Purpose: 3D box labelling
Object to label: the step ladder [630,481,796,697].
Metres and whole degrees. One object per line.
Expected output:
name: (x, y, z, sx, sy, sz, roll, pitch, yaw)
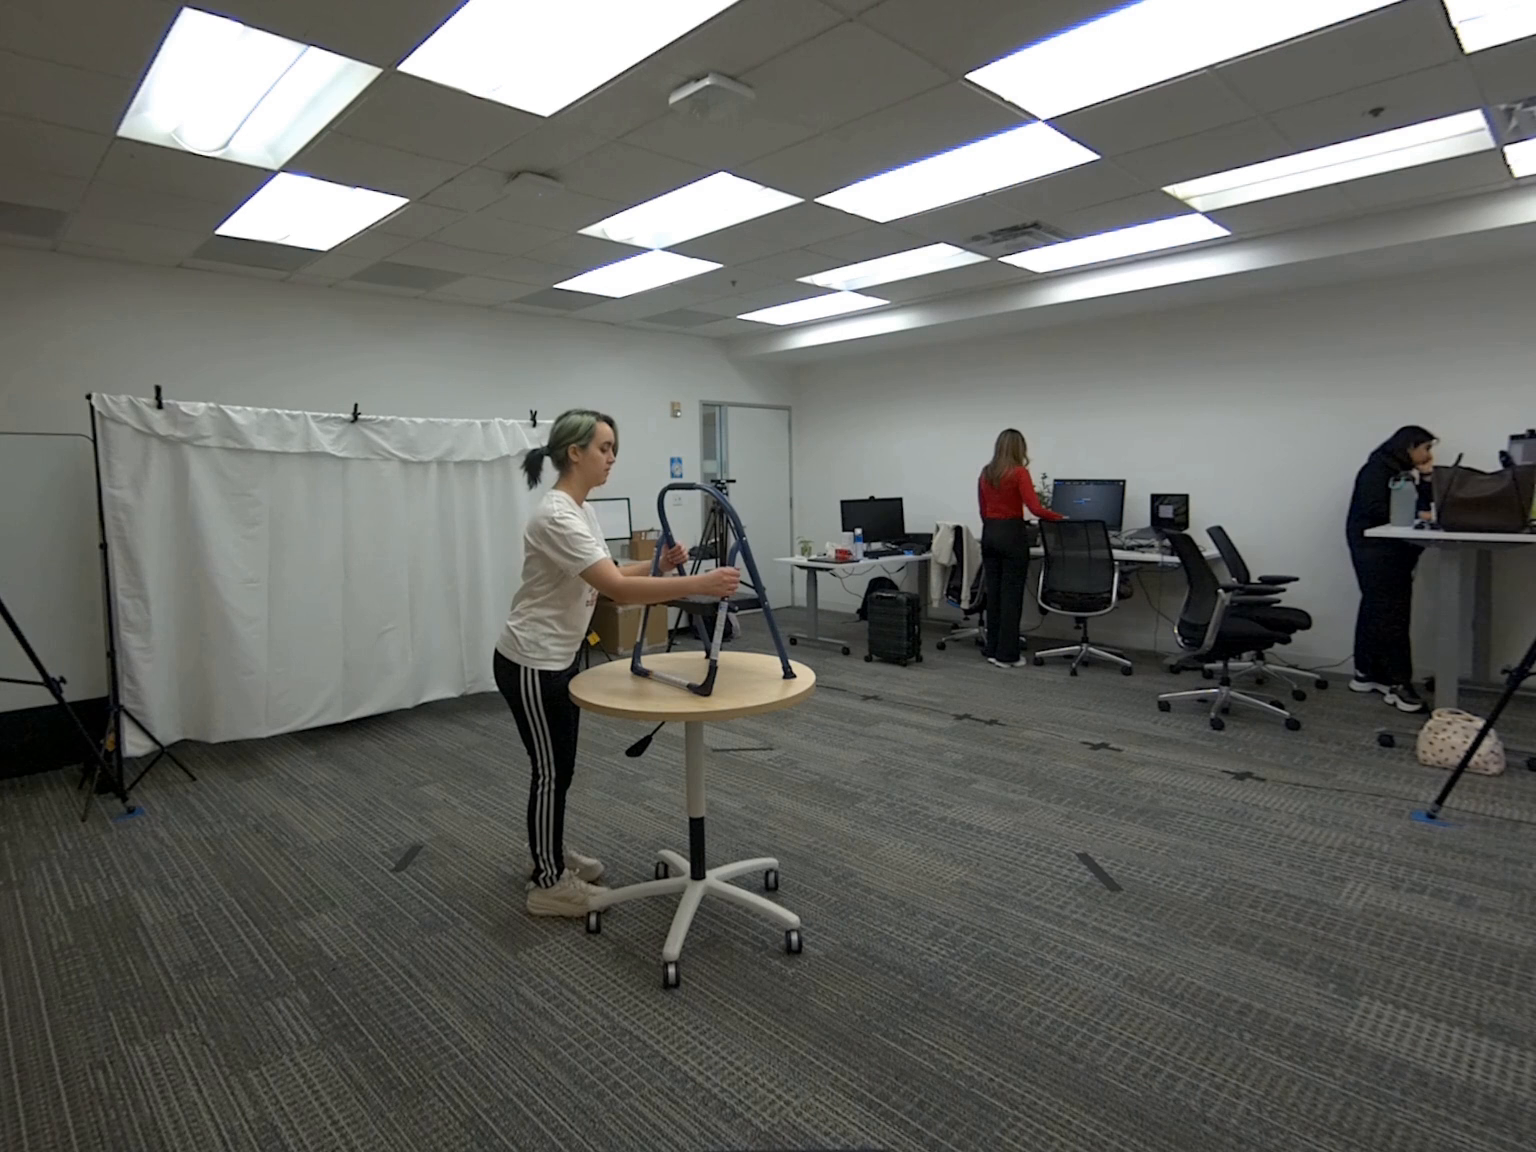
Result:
step ladder: (-0.188, 0.014, 2.669, 0.340, 0.604, 0.444, -5, 6, -40)
